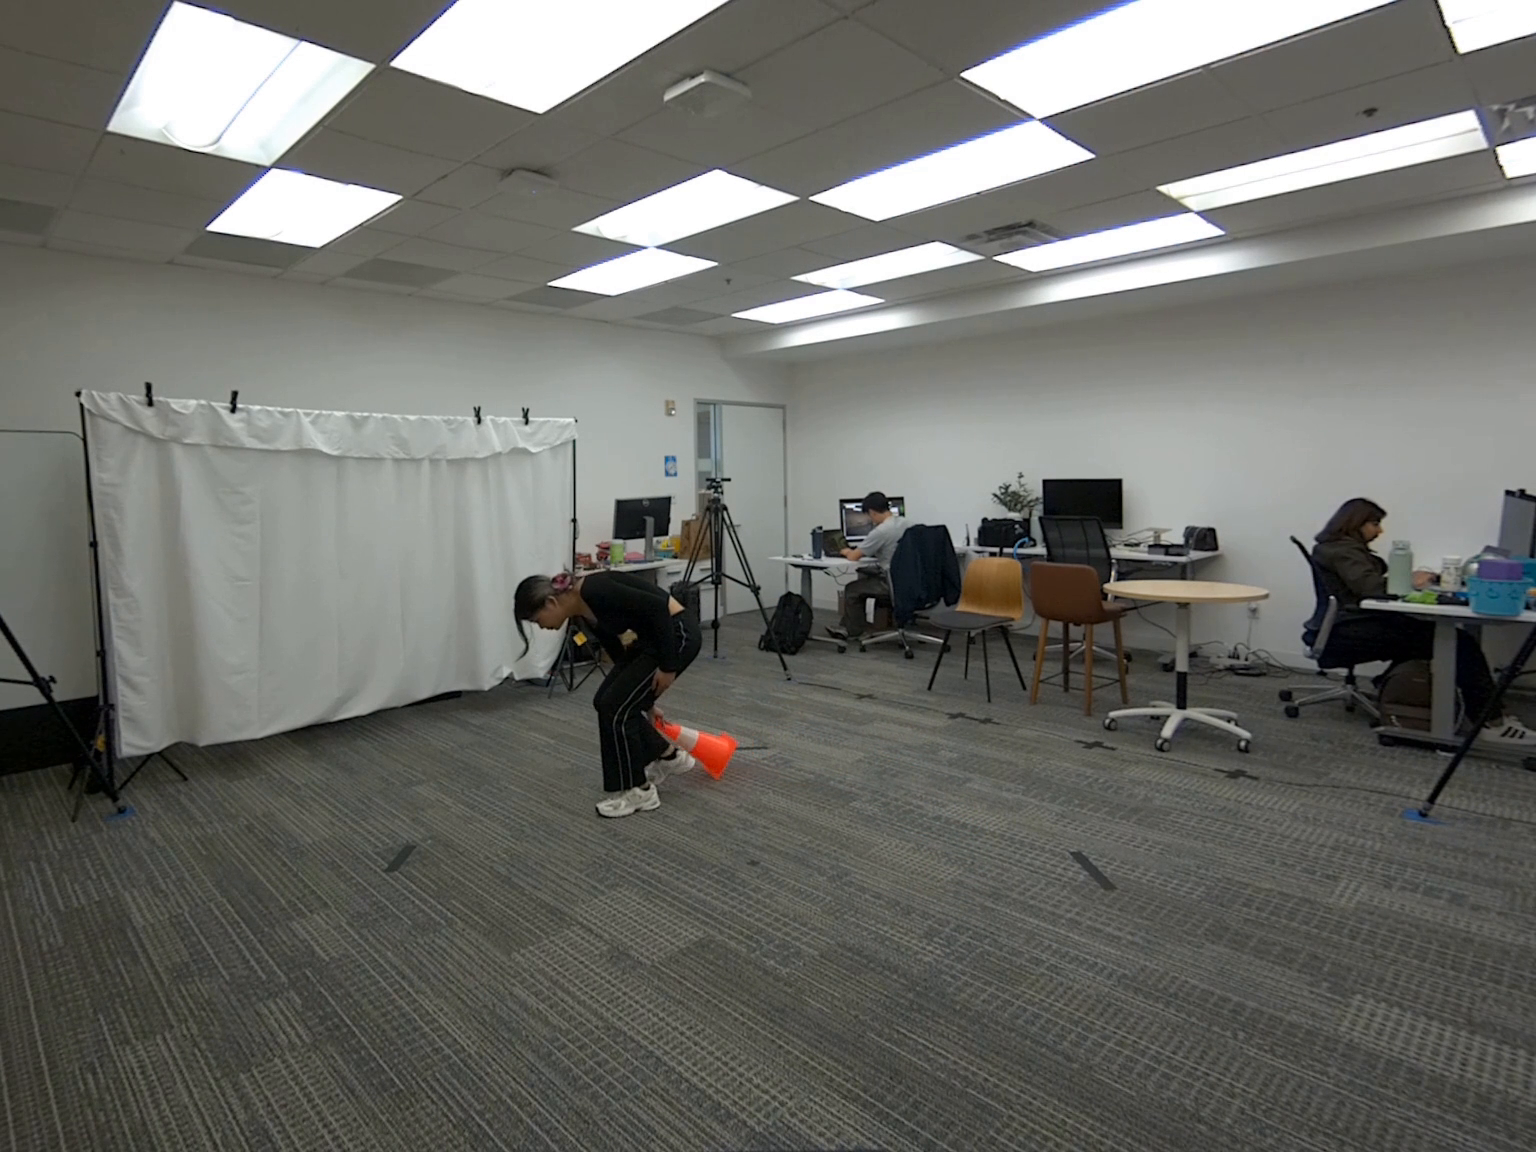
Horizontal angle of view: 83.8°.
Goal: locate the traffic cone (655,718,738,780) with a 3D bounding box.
[{"bbox_3d":[-0.373,0.761,4.003,0.375,0.203,0.210,32,-1,-20],"label":"traffic cone"}]
